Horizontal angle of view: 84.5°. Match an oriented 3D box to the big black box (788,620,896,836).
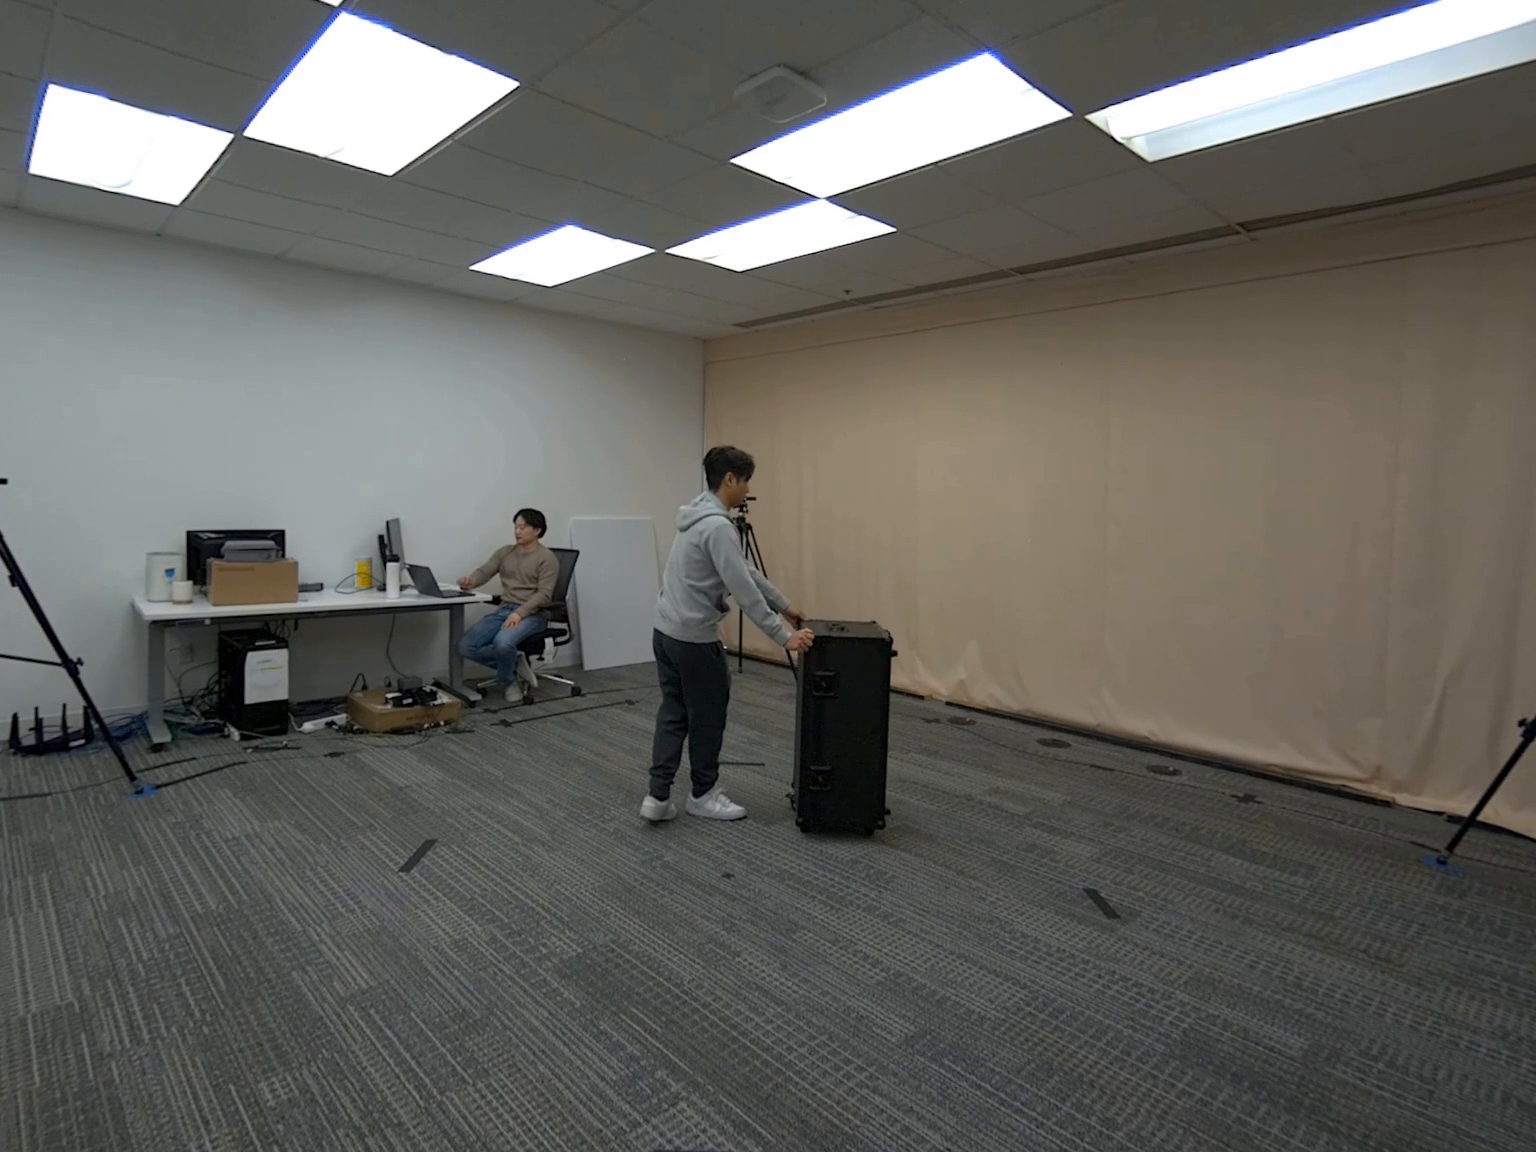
[{"bbox_3d":[0.306,0.645,3.642,0.396,0.860,0.522,3,3,-1],"label":"big black box"}]
